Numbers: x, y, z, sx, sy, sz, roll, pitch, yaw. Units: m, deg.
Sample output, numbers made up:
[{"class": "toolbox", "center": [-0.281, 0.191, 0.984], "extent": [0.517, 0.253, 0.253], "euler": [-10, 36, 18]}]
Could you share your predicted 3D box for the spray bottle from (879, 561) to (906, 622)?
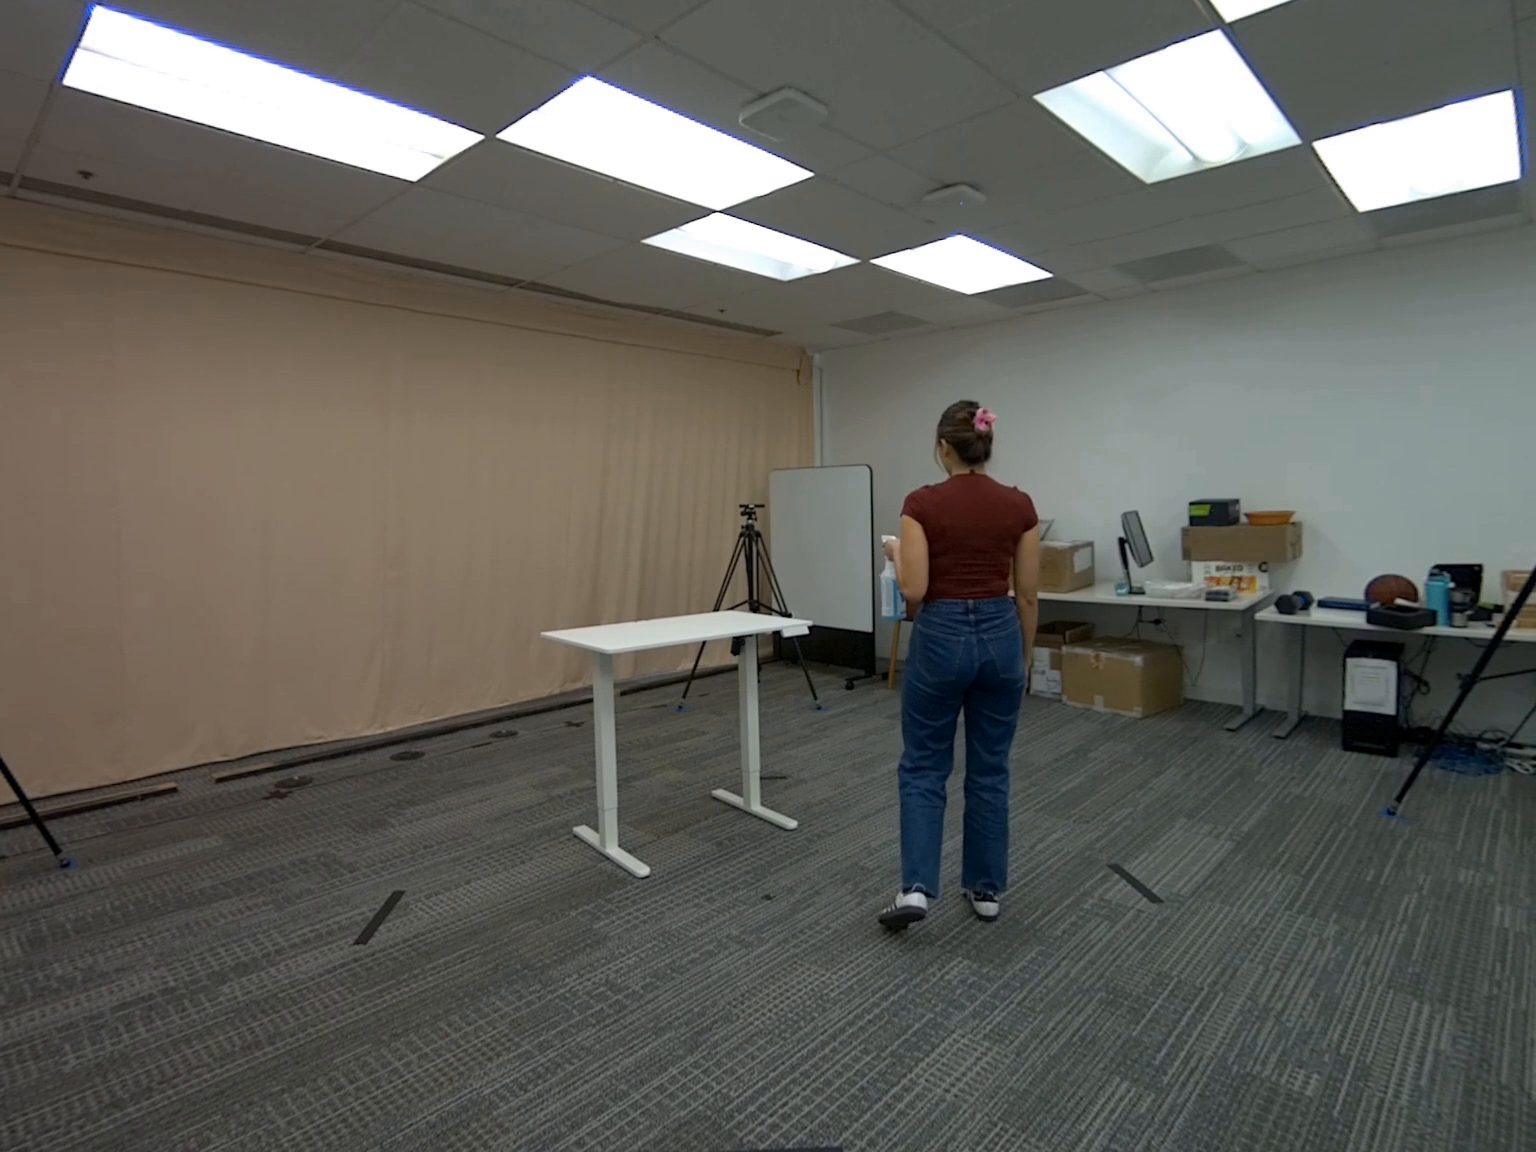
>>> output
[{"class": "spray bottle", "center": [0.453, 0.008, 3.006], "extent": [0.087, 0.296, 0.090], "euler": [-3, 6, -1]}]
